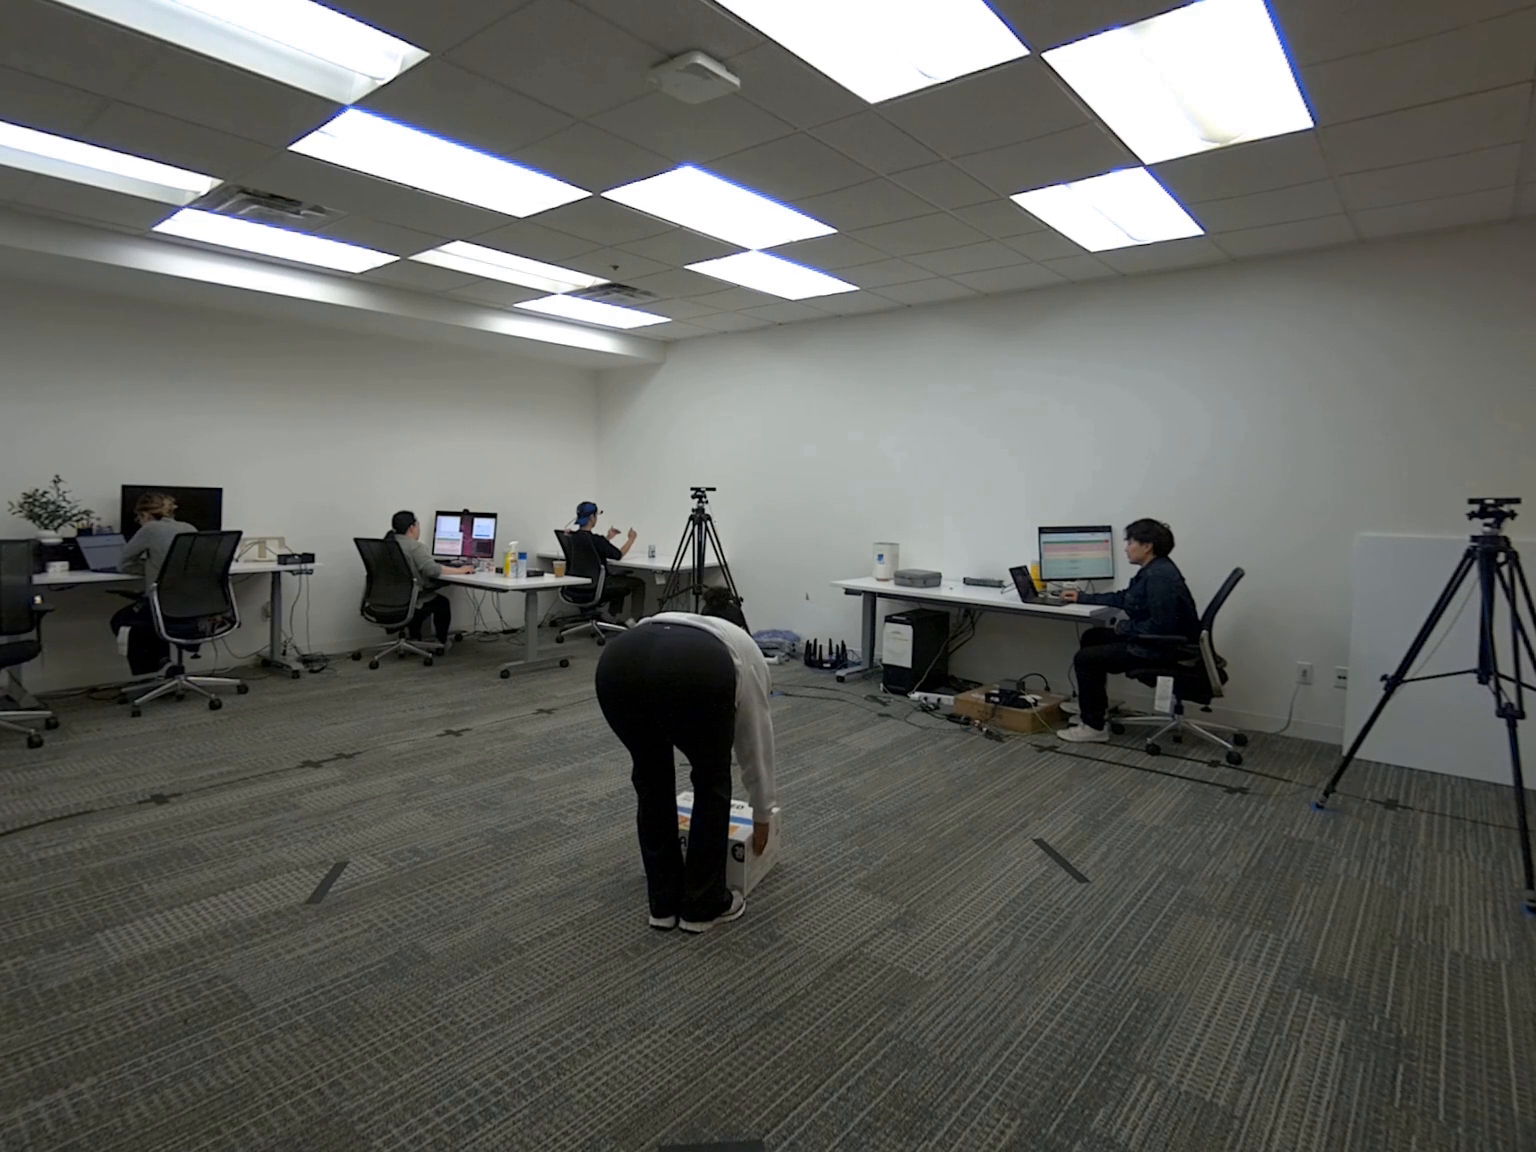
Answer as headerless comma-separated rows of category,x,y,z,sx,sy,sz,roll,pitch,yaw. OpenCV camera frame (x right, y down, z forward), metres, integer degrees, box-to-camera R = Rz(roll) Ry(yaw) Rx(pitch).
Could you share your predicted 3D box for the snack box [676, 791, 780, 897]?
snack box,-0.214,0.957,3.093,0.415,0.205,0.333,3,5,23
